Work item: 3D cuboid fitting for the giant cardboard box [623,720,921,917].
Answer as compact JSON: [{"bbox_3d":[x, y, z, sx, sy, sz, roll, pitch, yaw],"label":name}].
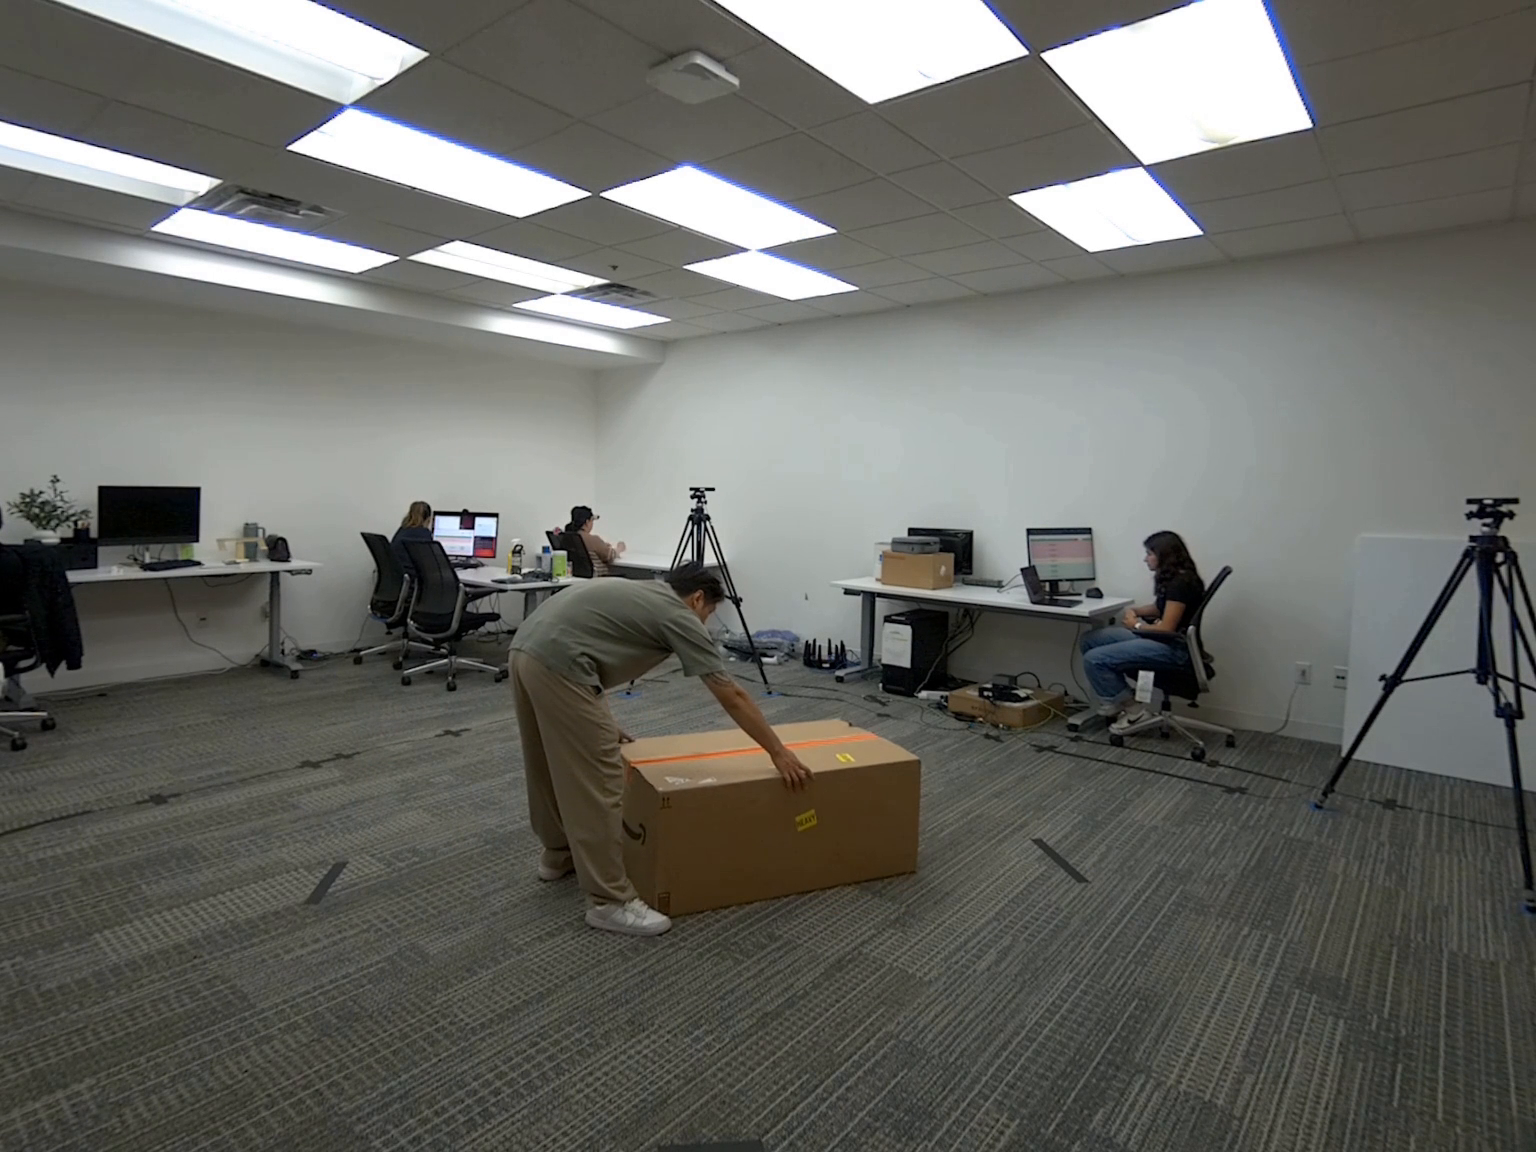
[{"bbox_3d":[-0.035,0.845,3.167,1.002,0.425,0.593,-2,5,-25],"label":"giant cardboard box"}]
